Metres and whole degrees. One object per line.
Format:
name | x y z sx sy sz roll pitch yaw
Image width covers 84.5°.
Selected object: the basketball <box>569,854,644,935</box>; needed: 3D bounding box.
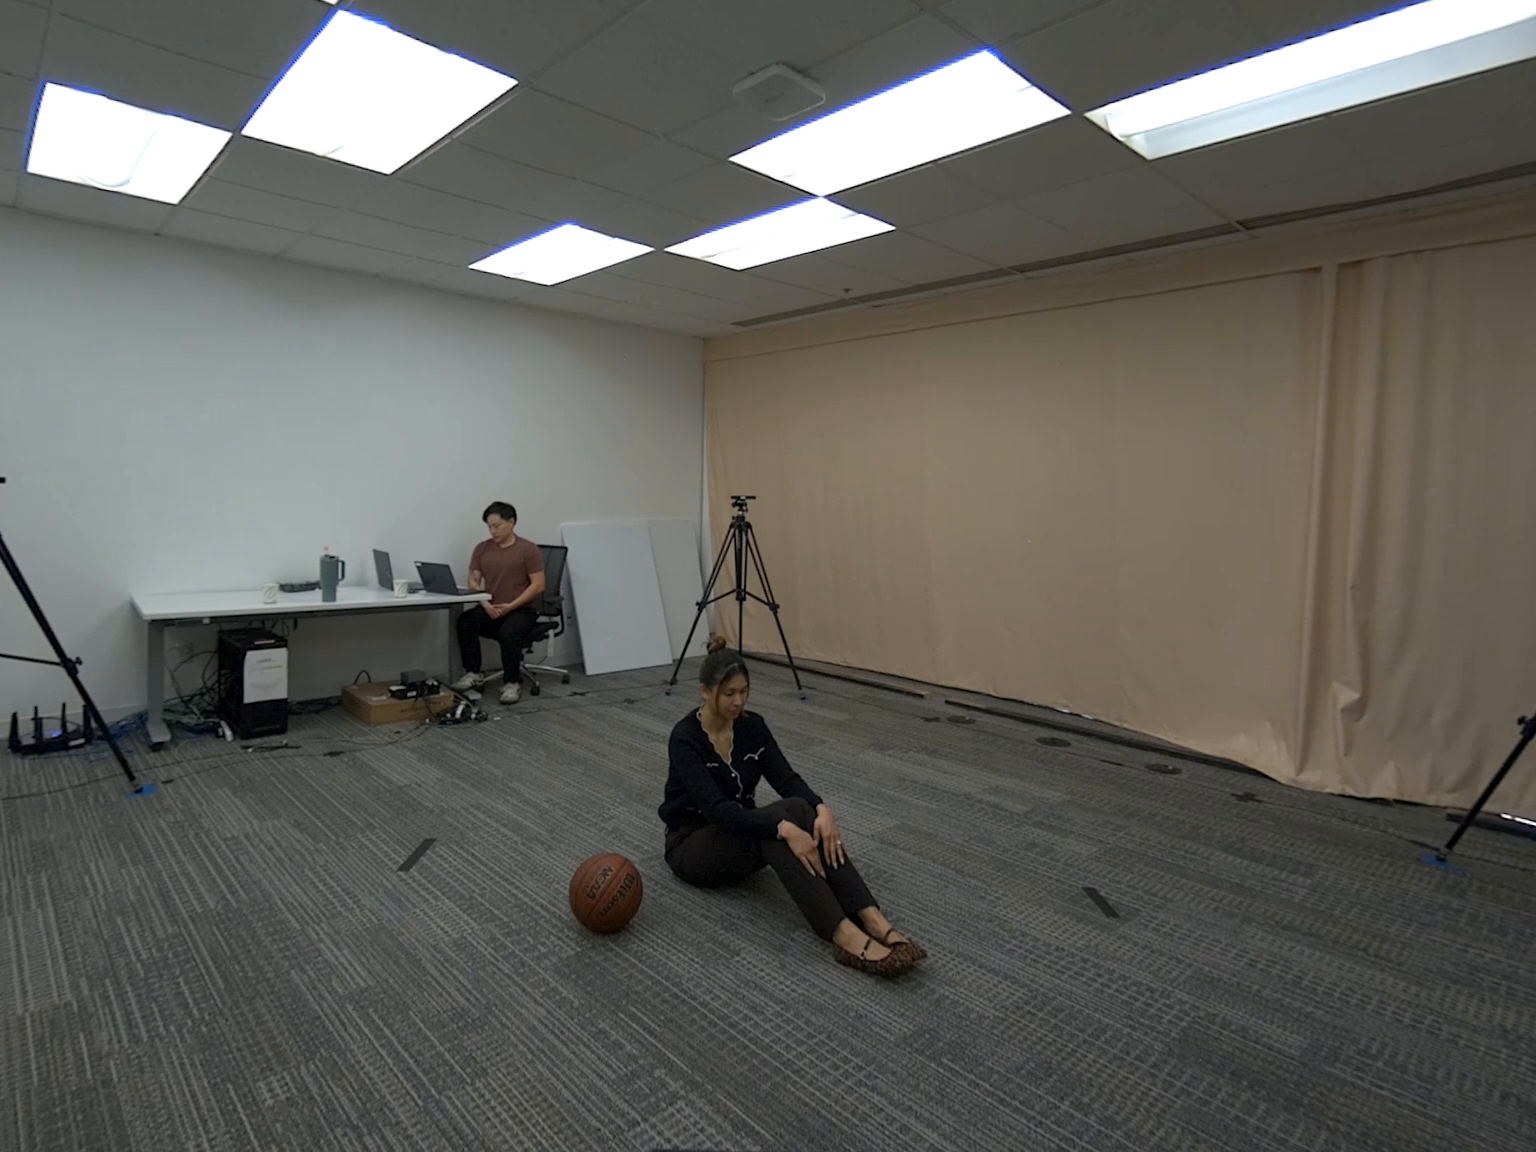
basketball | -0.527 1.014 2.696 0.236 0.235 0.237 1 4 -1
